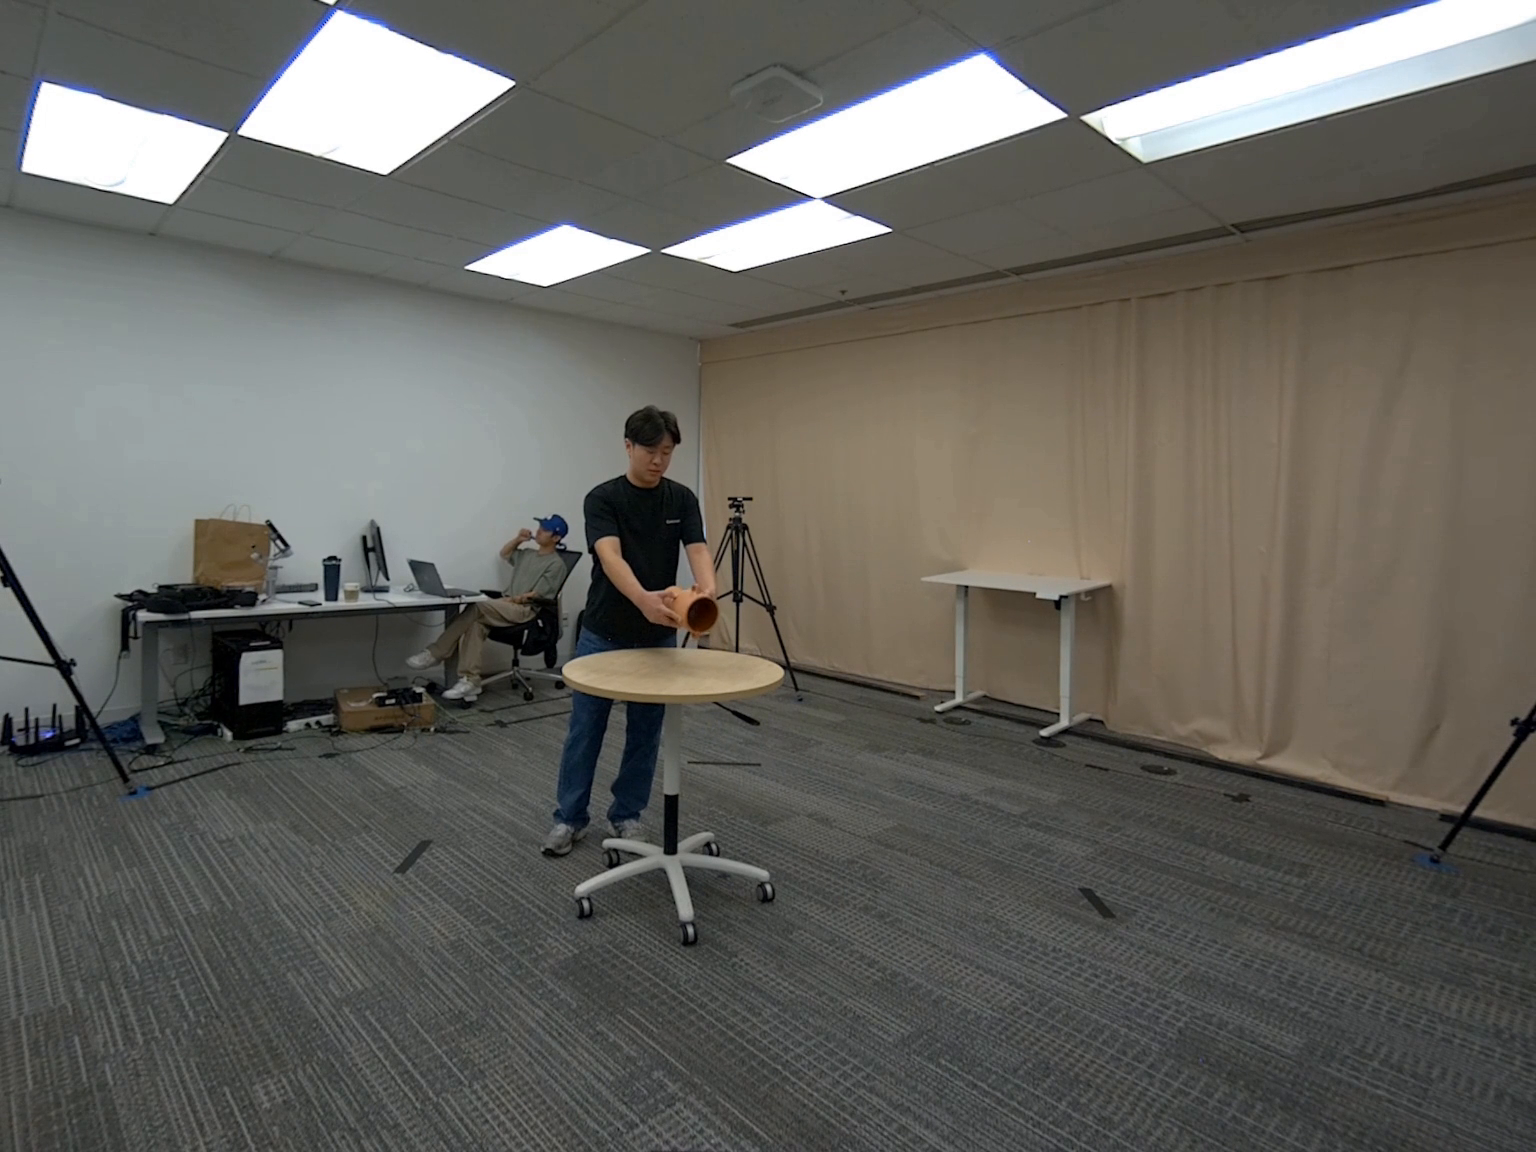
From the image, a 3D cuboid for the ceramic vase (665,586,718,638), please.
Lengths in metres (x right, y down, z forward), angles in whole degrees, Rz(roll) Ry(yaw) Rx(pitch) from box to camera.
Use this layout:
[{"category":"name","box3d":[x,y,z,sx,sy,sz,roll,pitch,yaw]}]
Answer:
[{"category":"ceramic vase","box3d":[-0.280,0.109,2.893,0.131,0.159,0.226,38,-9,-34]}]
